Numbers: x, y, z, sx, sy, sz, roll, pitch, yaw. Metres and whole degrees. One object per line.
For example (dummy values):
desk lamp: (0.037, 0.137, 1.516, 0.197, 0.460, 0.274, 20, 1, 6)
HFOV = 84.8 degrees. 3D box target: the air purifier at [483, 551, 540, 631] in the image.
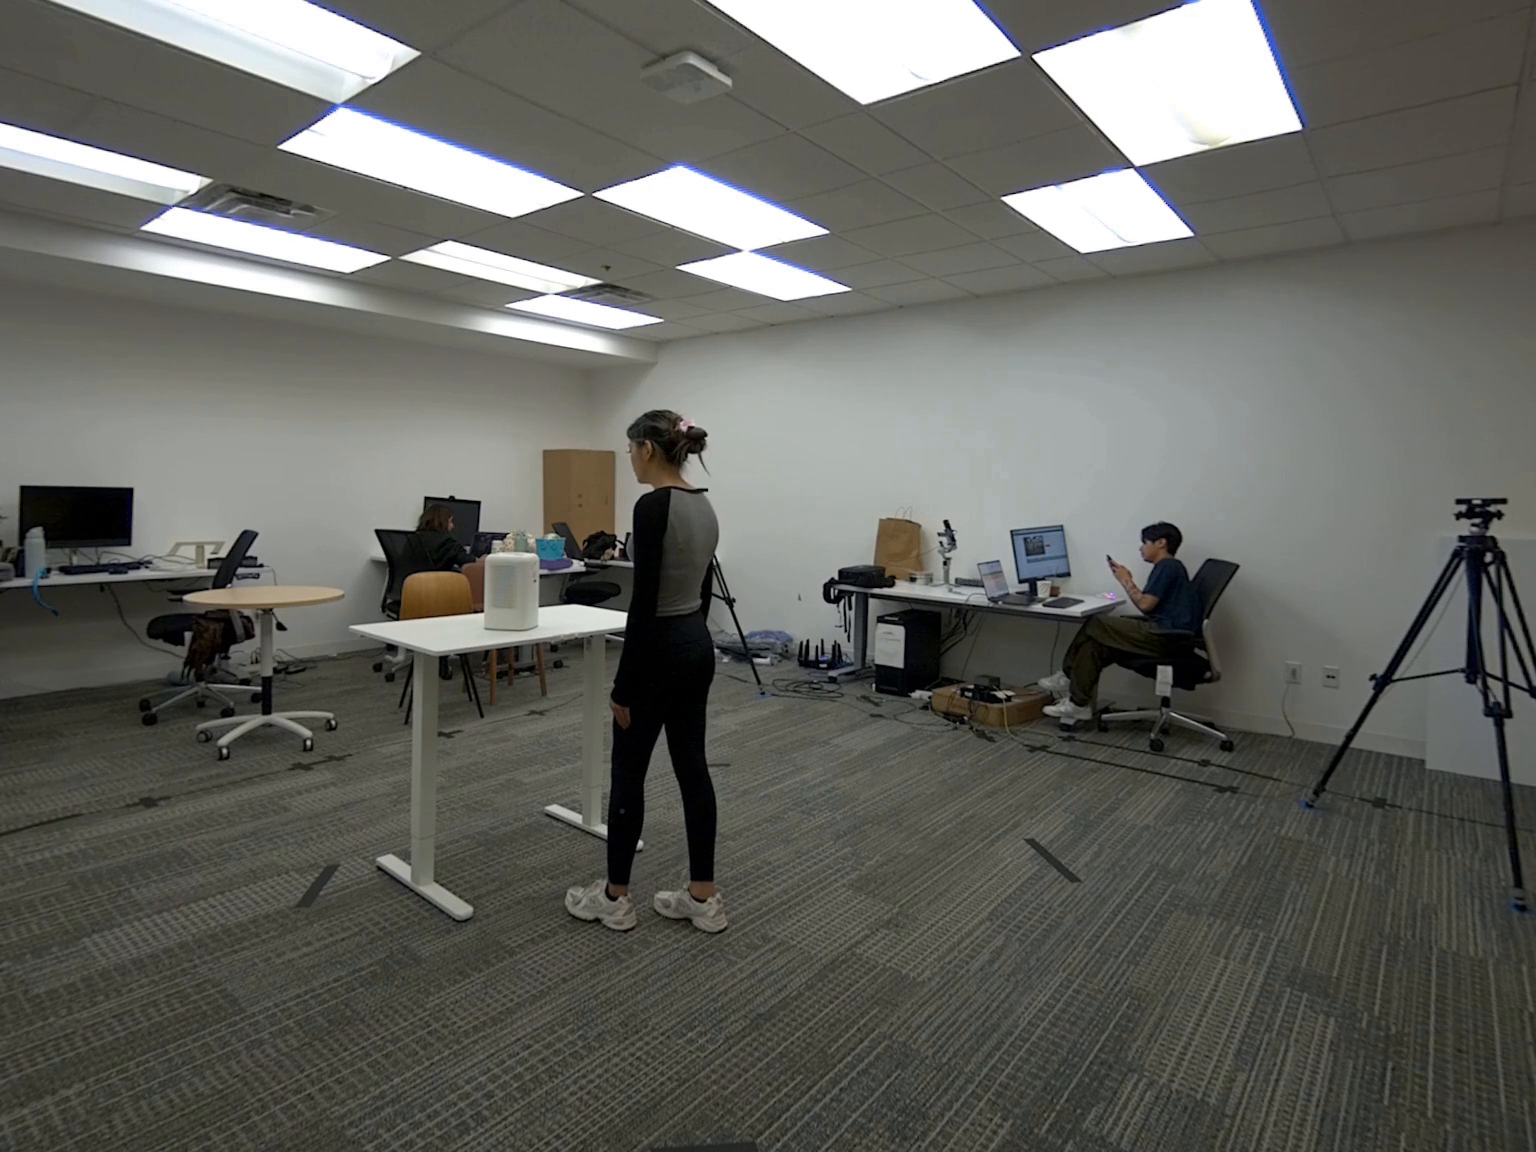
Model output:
air purifier: (-0.933, 0.049, 3.042, 0.173, 0.265, 0.170, 2, 3, 7)
